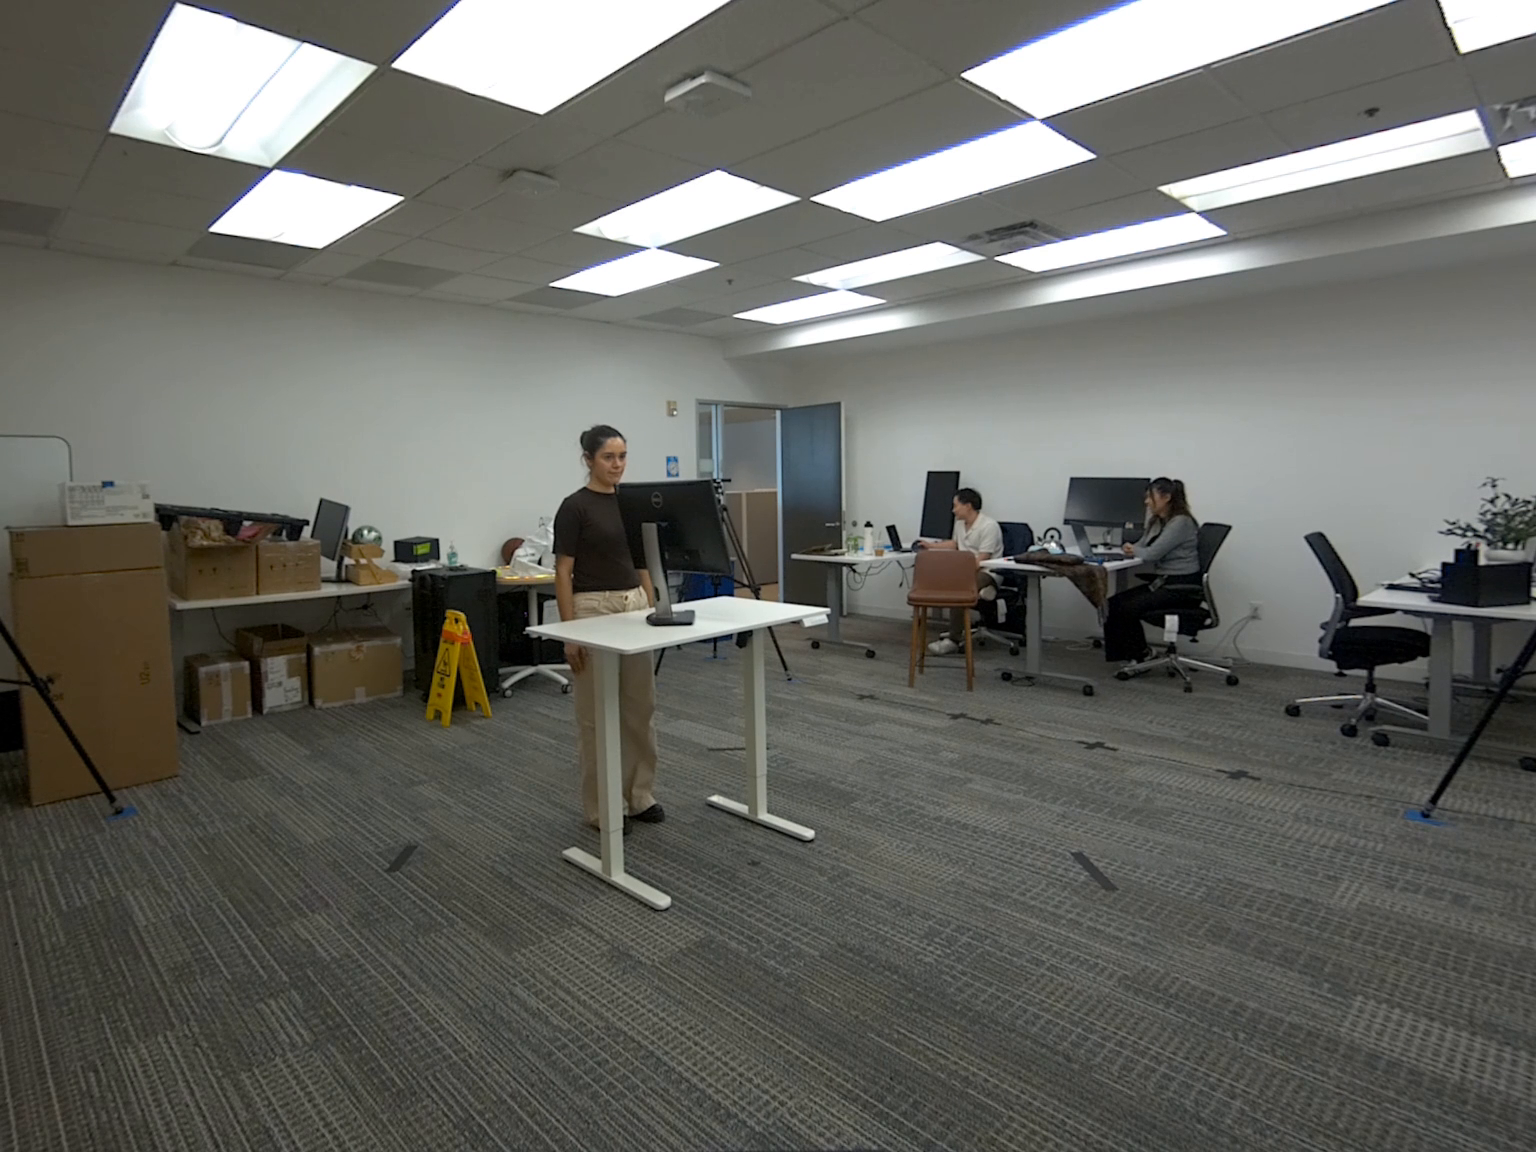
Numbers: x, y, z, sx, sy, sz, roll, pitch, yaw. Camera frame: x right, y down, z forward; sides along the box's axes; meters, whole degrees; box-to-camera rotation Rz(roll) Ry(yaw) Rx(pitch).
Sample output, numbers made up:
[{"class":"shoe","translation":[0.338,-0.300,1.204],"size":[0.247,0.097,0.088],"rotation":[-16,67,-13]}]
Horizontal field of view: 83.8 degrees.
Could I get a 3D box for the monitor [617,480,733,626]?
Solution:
[{"class":"monitor","translation":[-0.380,-0.090,3.159],"size":[0.555,0.521,0.182],"rotation":[1,3,39]}]
